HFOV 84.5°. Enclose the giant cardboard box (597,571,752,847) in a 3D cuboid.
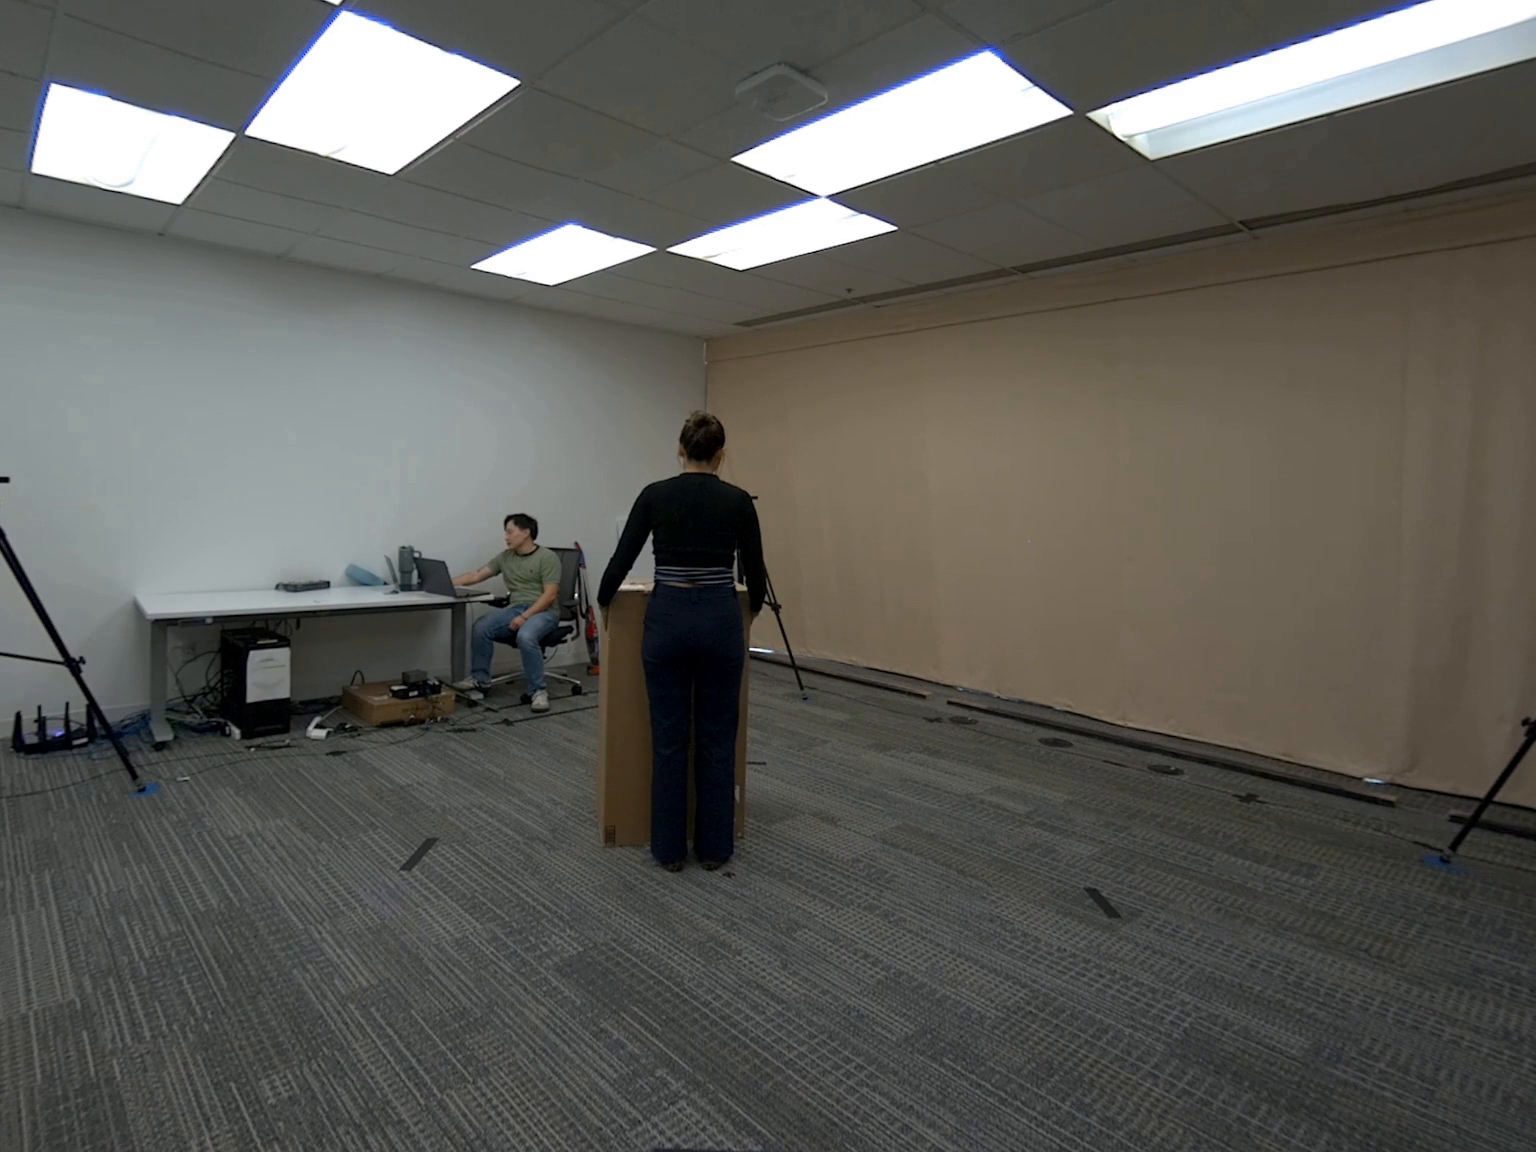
[{"bbox_3d":[-0.417,0.549,3.557,0.571,1.023,0.432,1,3,-14],"label":"giant cardboard box"}]
